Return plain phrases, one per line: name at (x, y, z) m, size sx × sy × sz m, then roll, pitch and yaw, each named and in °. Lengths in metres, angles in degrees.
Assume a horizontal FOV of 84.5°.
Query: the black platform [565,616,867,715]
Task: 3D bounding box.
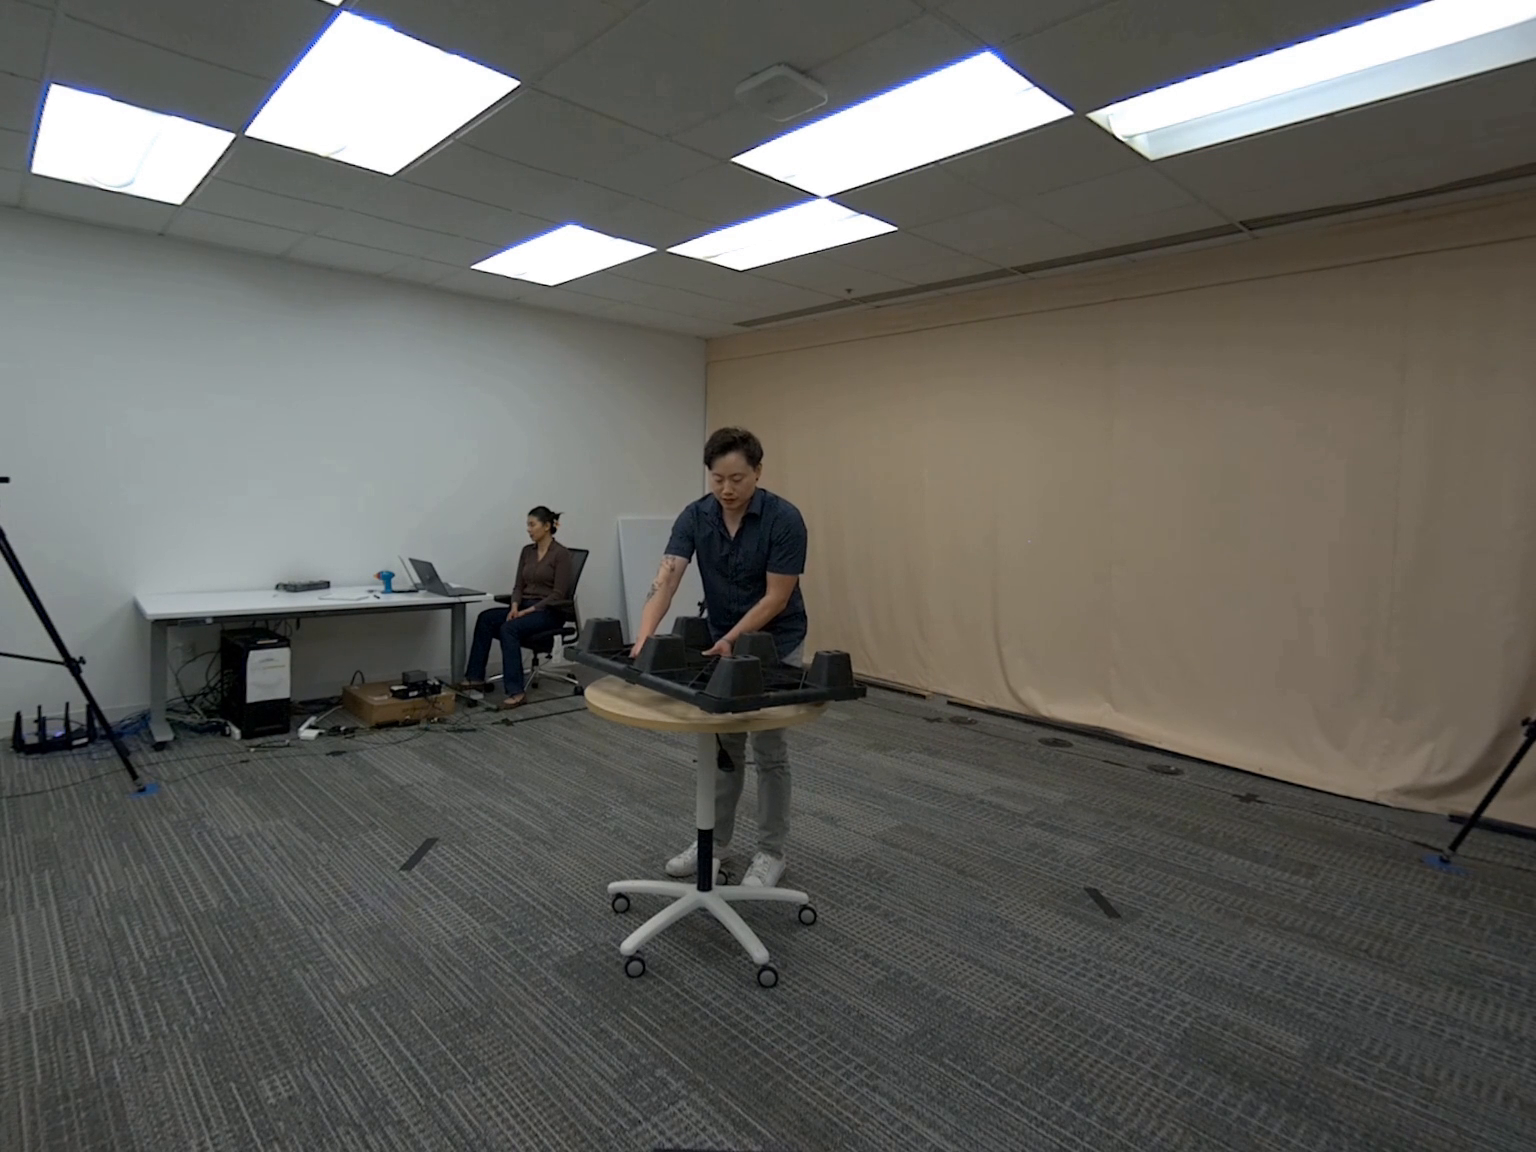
black platform at (-0.189, 0.259, 2.629) m, size 0.590 × 0.143 × 0.827 m, roll 3°, pitch 4°, yaw -43°
